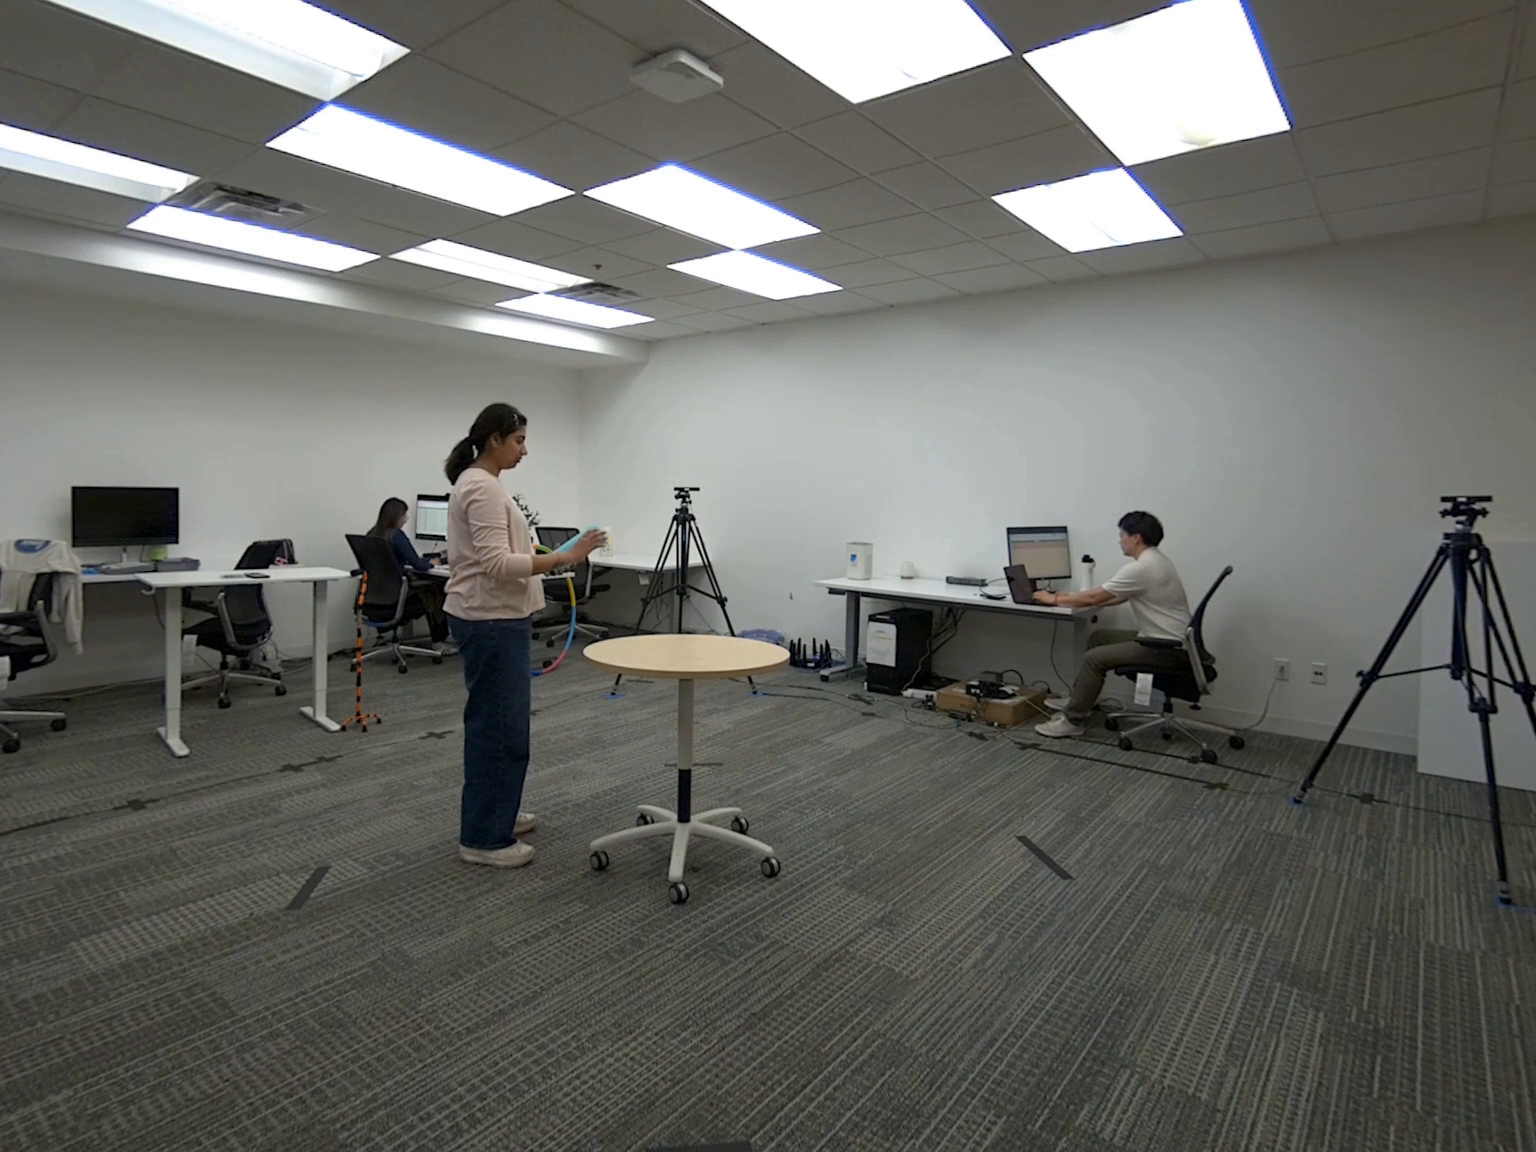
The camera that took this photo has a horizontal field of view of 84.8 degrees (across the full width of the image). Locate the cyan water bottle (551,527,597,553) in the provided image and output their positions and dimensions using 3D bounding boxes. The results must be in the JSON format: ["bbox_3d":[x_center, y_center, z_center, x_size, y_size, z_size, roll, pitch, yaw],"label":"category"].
[{"bbox_3d":[-0.804,-0.097,3.415,0.282,0.090,0.095,-38,19,-18],"label":"cyan water bottle"}]
